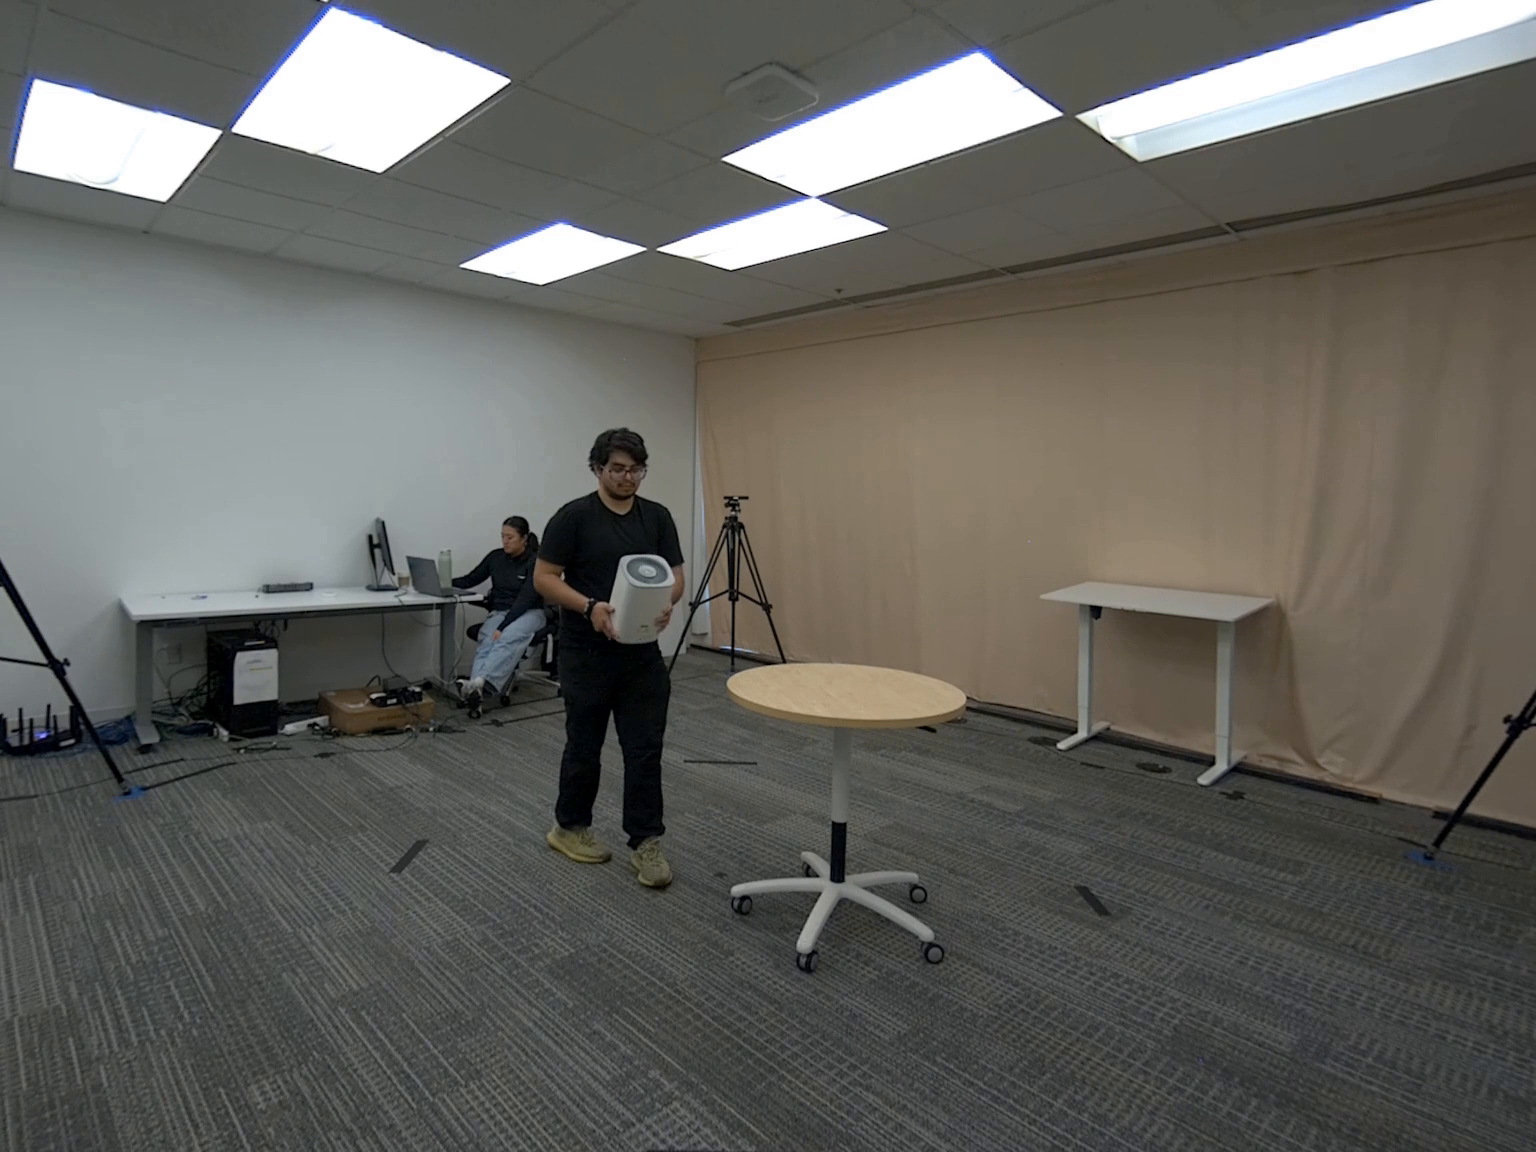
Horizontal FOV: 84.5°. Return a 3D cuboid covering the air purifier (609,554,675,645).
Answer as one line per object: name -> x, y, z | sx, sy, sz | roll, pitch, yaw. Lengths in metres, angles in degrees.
air purifier -> -0.442, 0.081, 2.841 | 0.165, 0.259, 0.179 | 1, 37, -29
